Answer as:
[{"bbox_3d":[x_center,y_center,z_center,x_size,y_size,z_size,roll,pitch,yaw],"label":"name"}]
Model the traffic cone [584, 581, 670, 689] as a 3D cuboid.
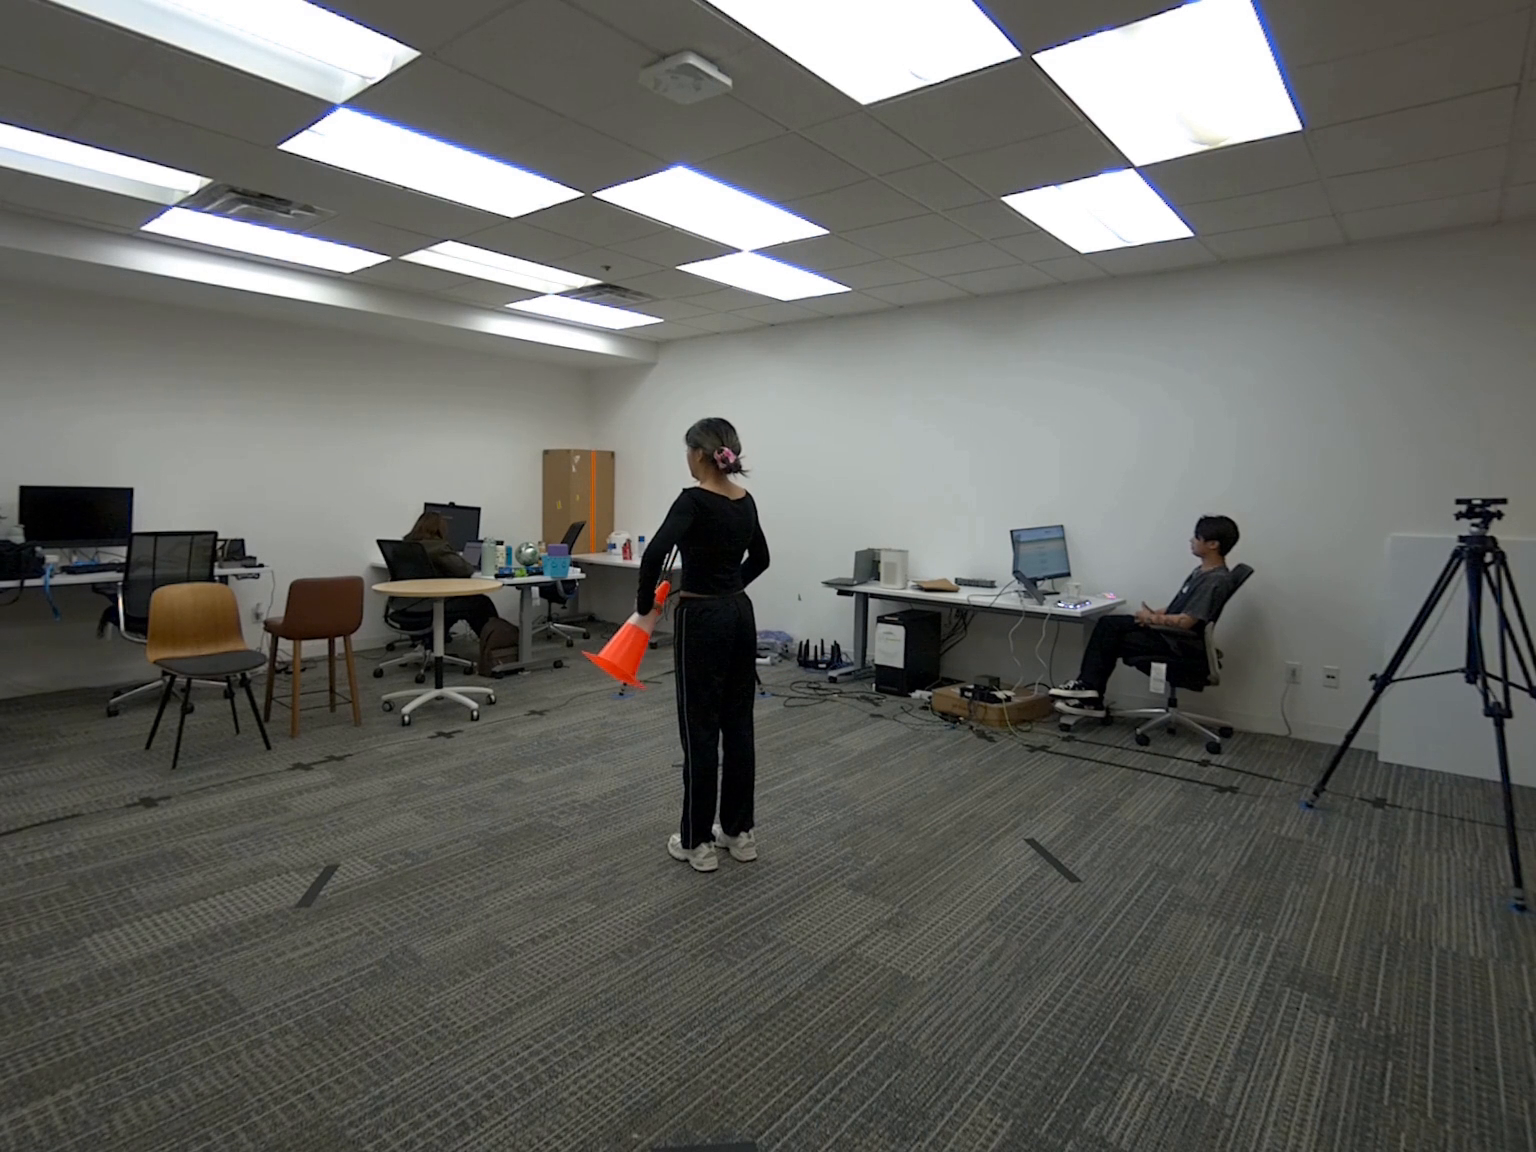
[{"bbox_3d":[-0.464,0.178,3.083,0.210,0.385,0.197,6,-32,49],"label":"traffic cone"}]
